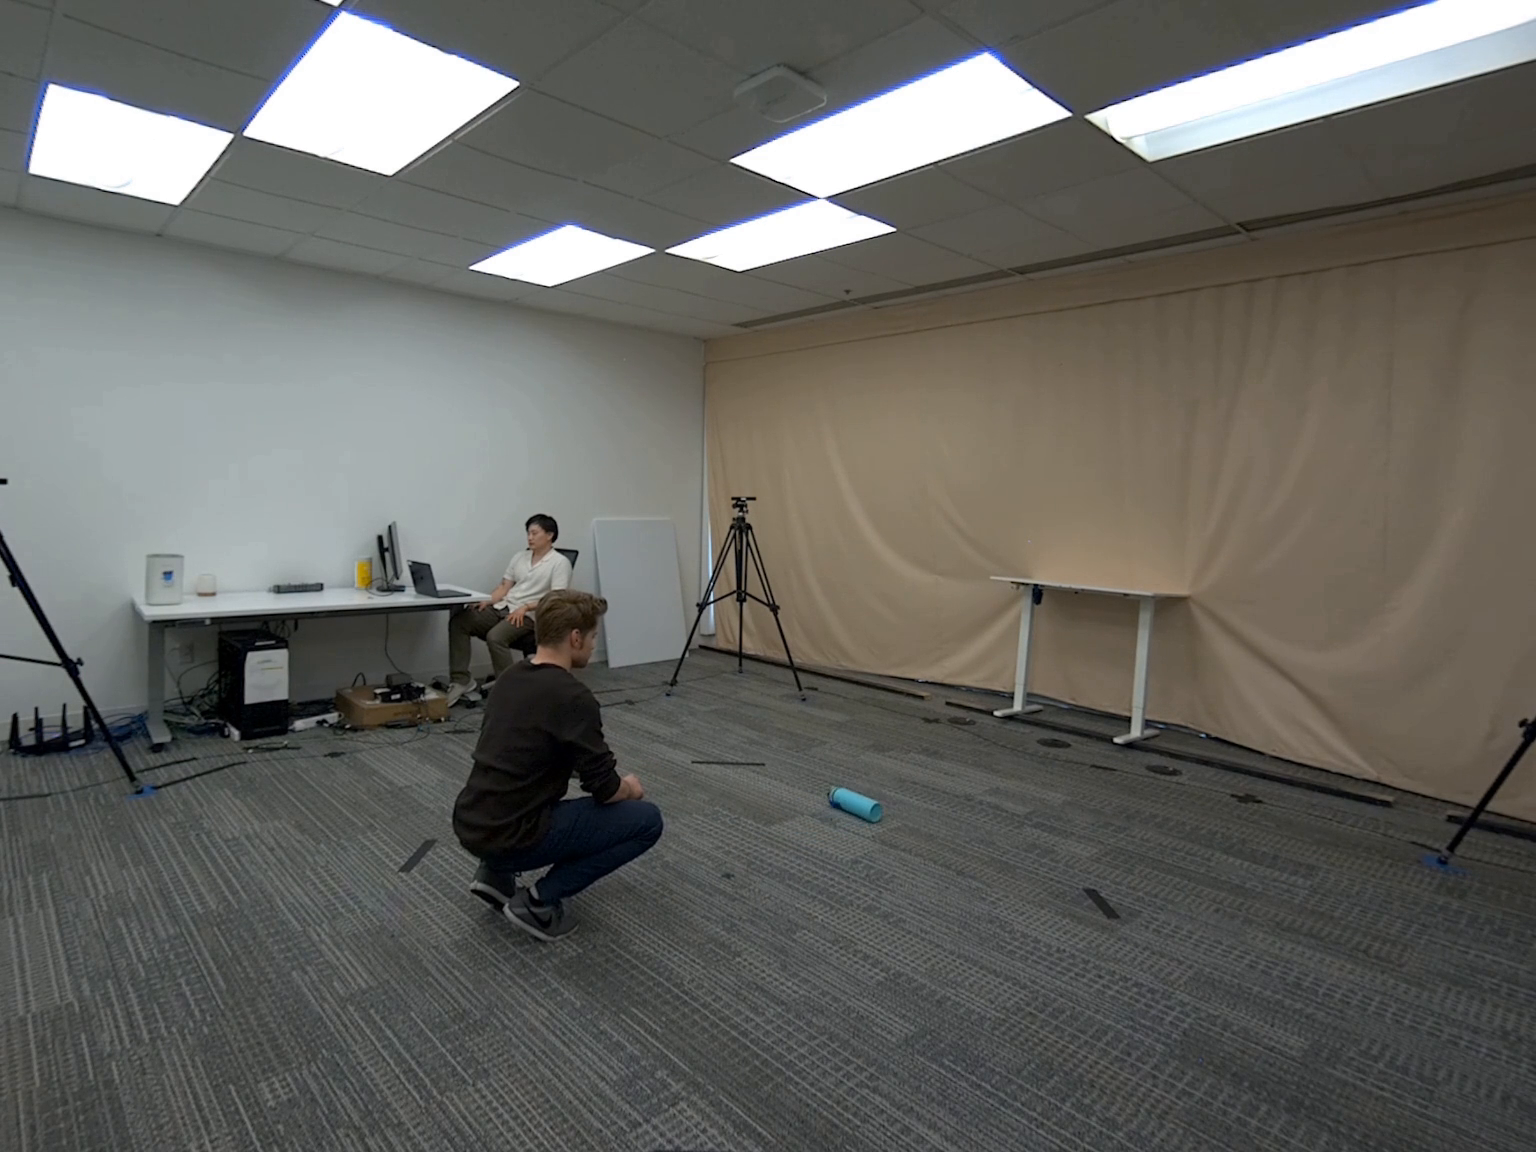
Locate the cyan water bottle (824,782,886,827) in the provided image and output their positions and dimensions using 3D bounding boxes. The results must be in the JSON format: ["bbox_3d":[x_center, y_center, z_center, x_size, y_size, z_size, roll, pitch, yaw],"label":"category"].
[{"bbox_3d":[0.382,1.013,3.774,0.090,0.092,0.290,-2,6,-39],"label":"cyan water bottle"}]
